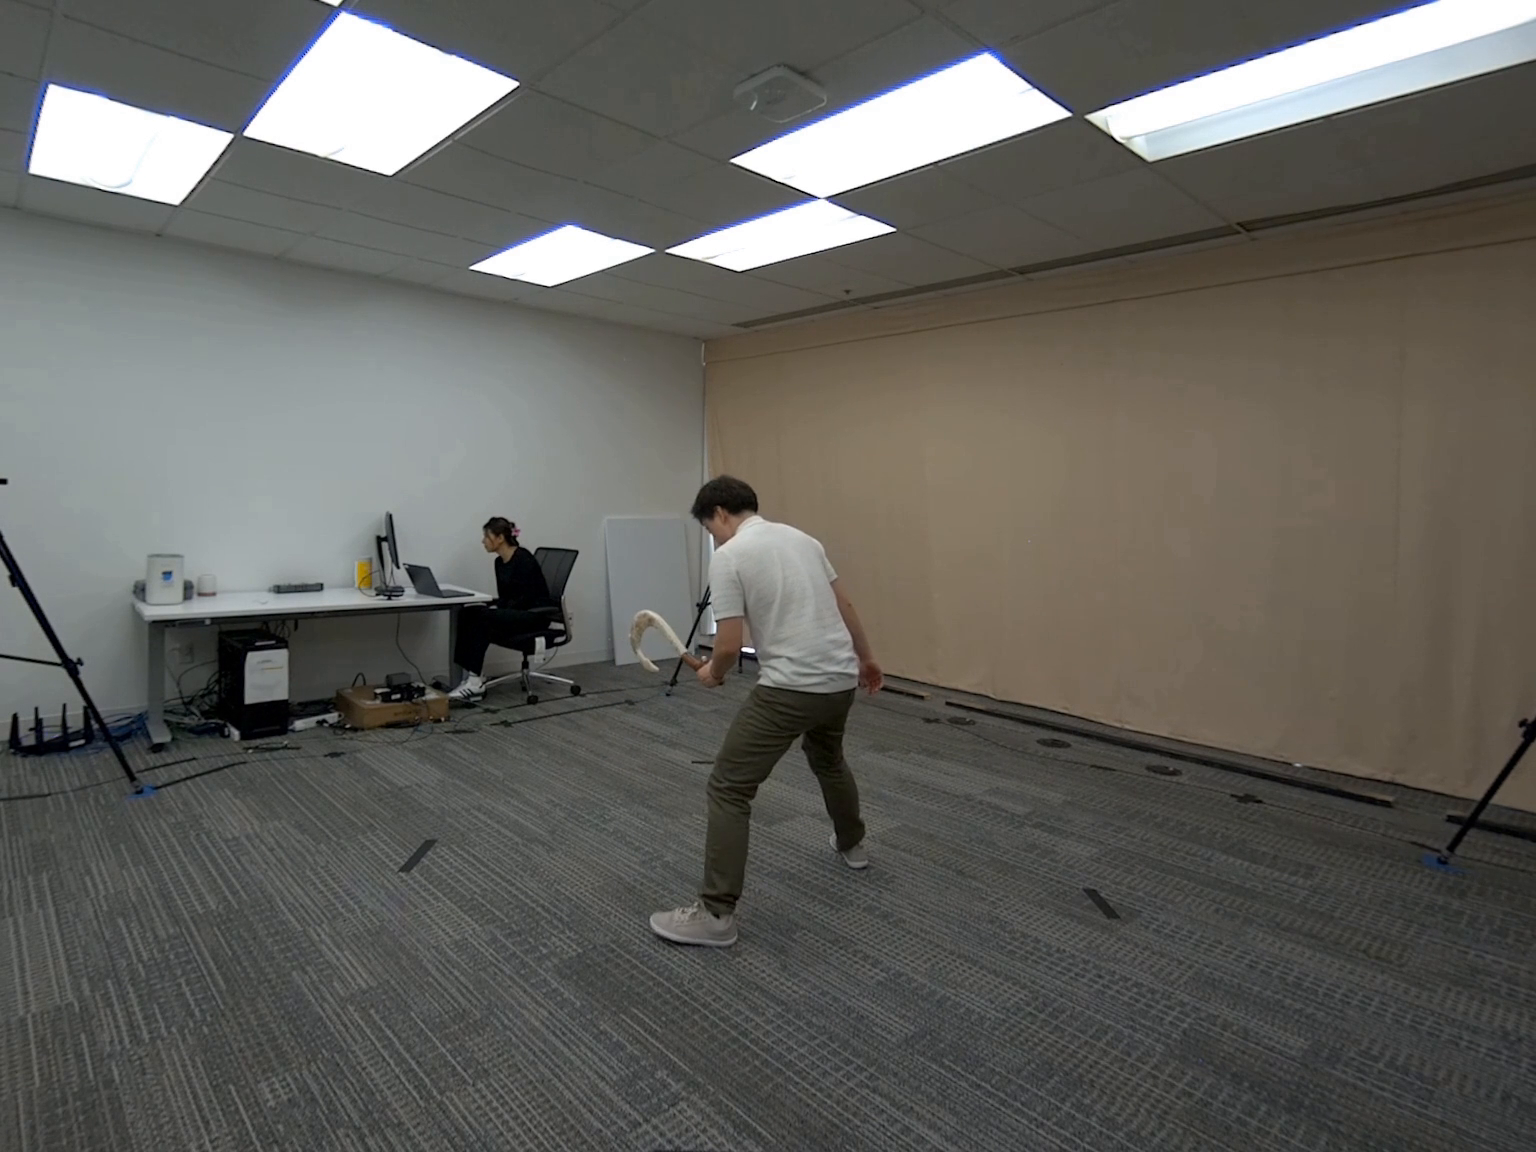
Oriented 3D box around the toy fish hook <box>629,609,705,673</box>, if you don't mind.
[{"bbox_3d":[-0.363,0.319,3.168,0.047,0.222,0.522,-10,34,-45],"label":"toy fish hook"}]
